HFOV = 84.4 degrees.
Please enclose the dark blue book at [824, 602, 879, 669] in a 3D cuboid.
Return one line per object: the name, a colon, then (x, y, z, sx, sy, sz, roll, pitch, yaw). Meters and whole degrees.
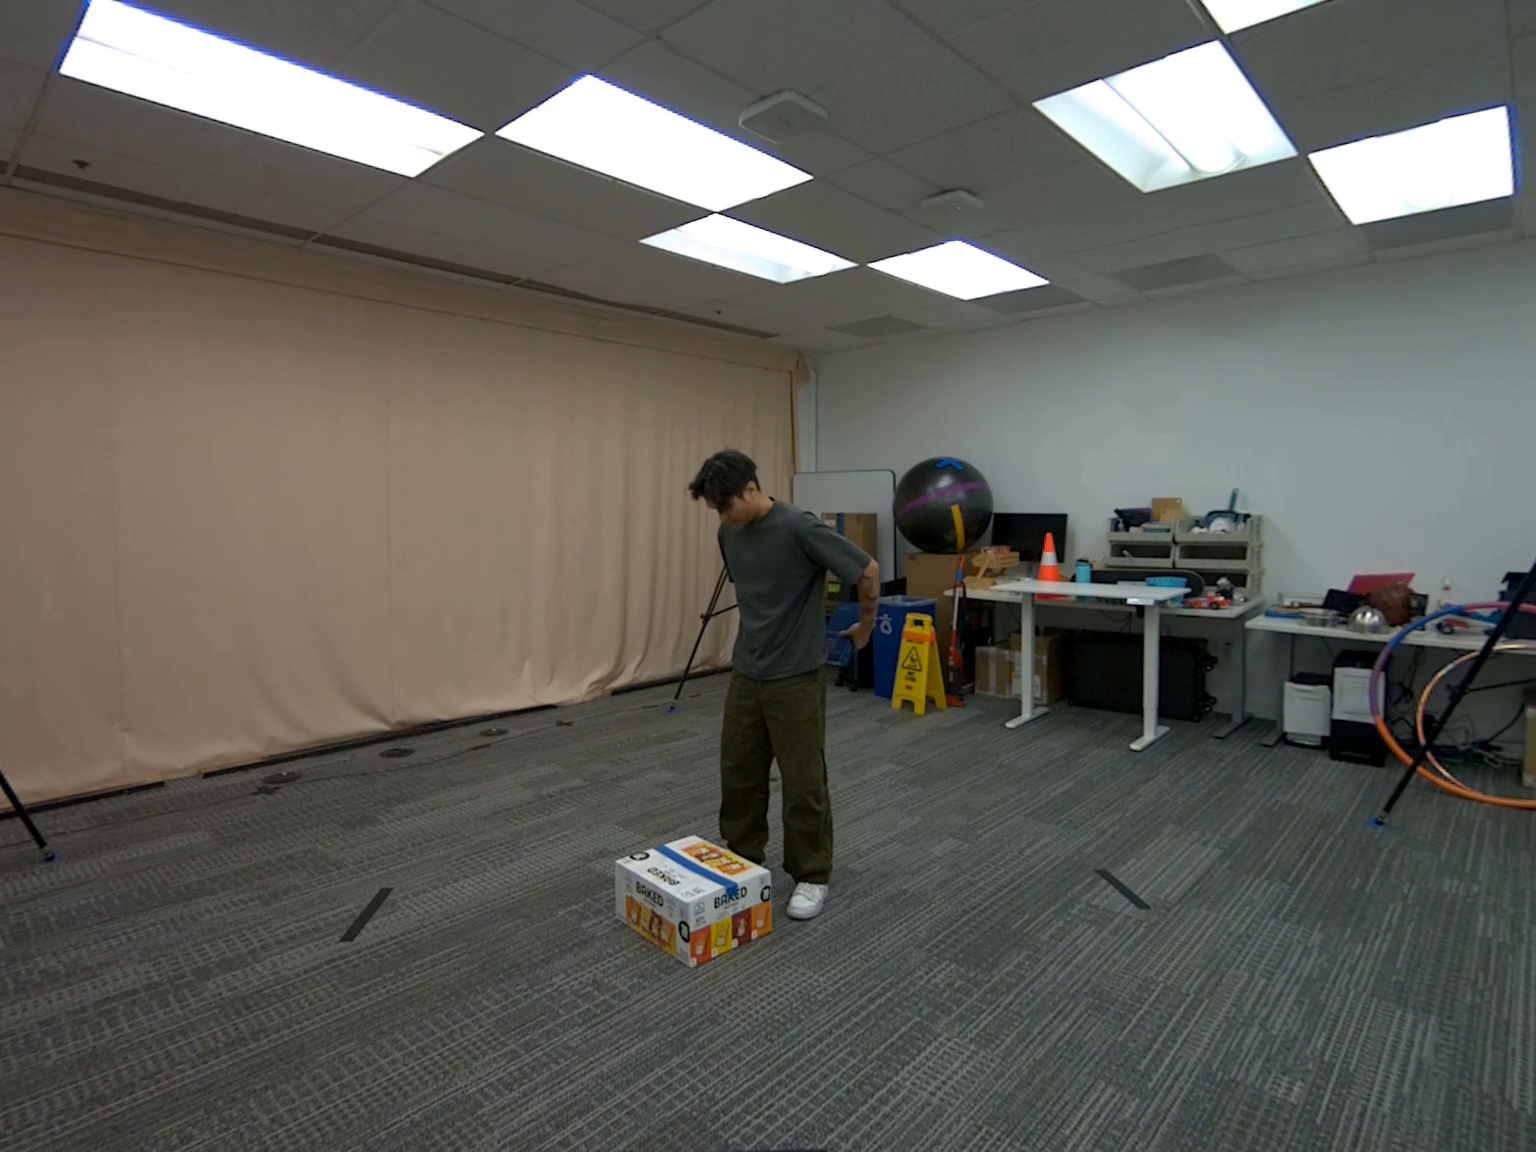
dark blue book: (0.282, 0.212, 3.101, 0.044, 0.245, 0.168, 37, -19, -27)
